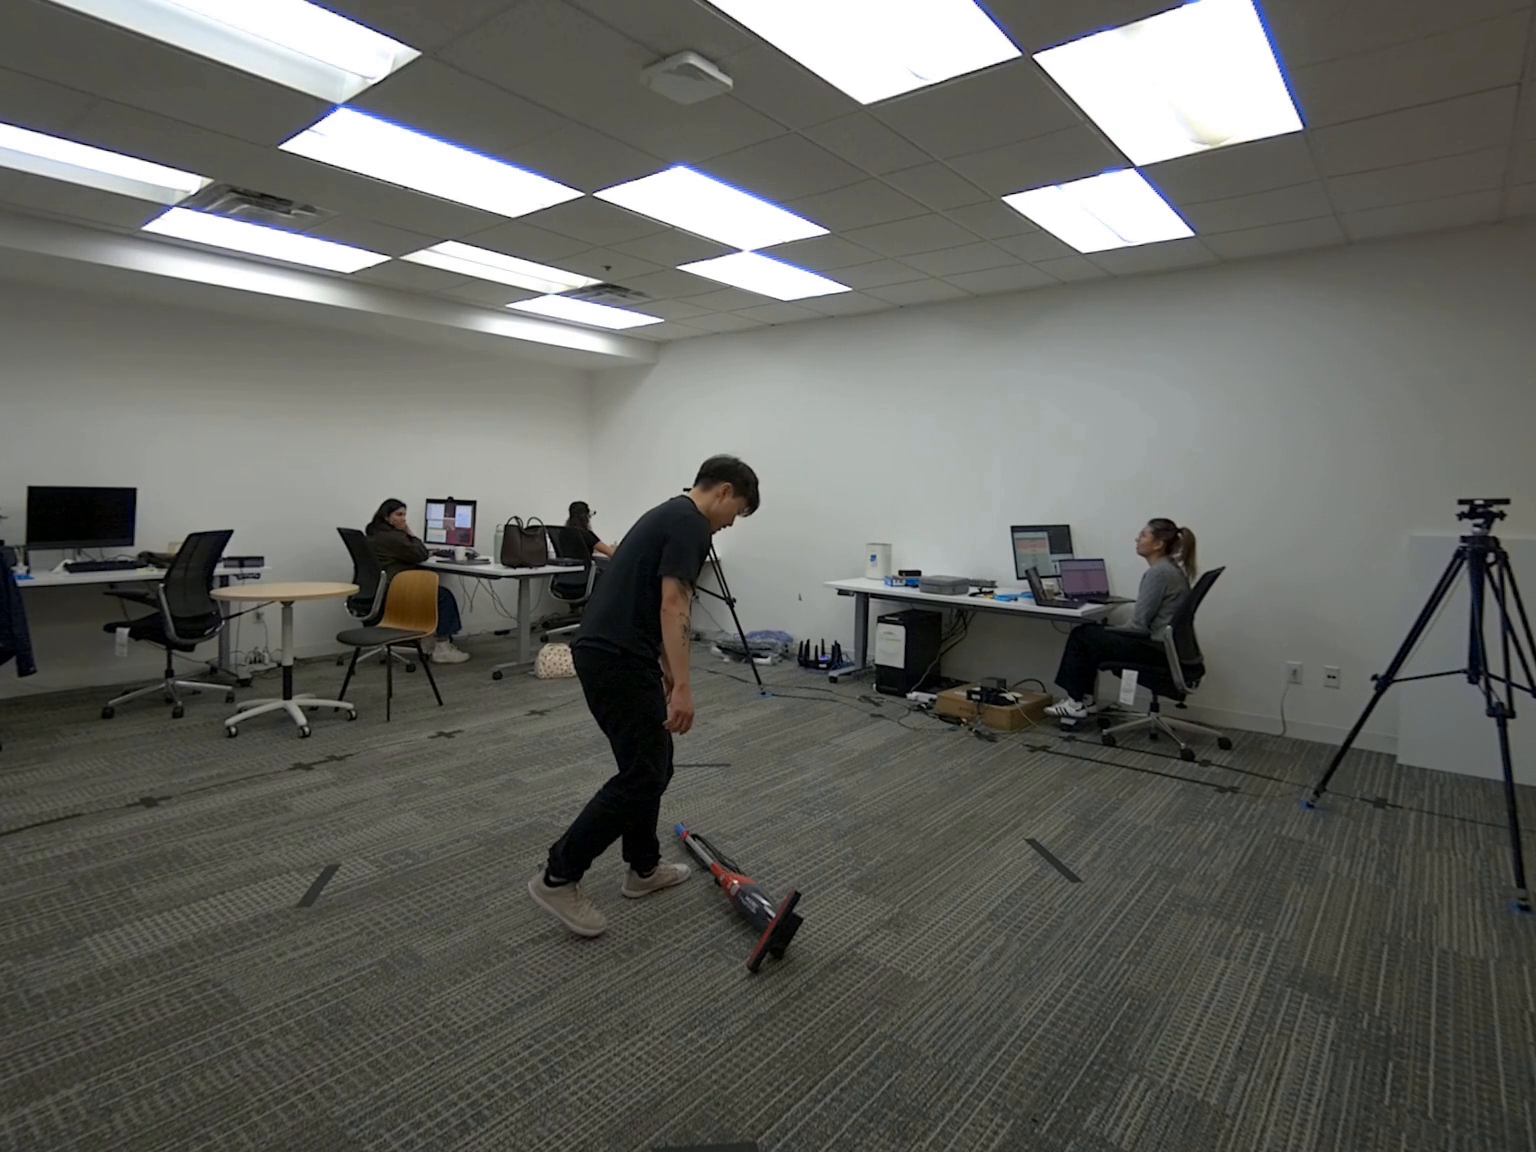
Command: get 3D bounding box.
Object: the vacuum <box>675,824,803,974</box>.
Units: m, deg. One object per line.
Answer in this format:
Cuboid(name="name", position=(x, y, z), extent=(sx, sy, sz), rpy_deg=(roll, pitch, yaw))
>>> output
Cuboid(name="vacuum", position=(-0.168, 1.033, 2.980), extent=(0.141, 0.253, 1.071), rpy_deg=(39, -12, -18))
